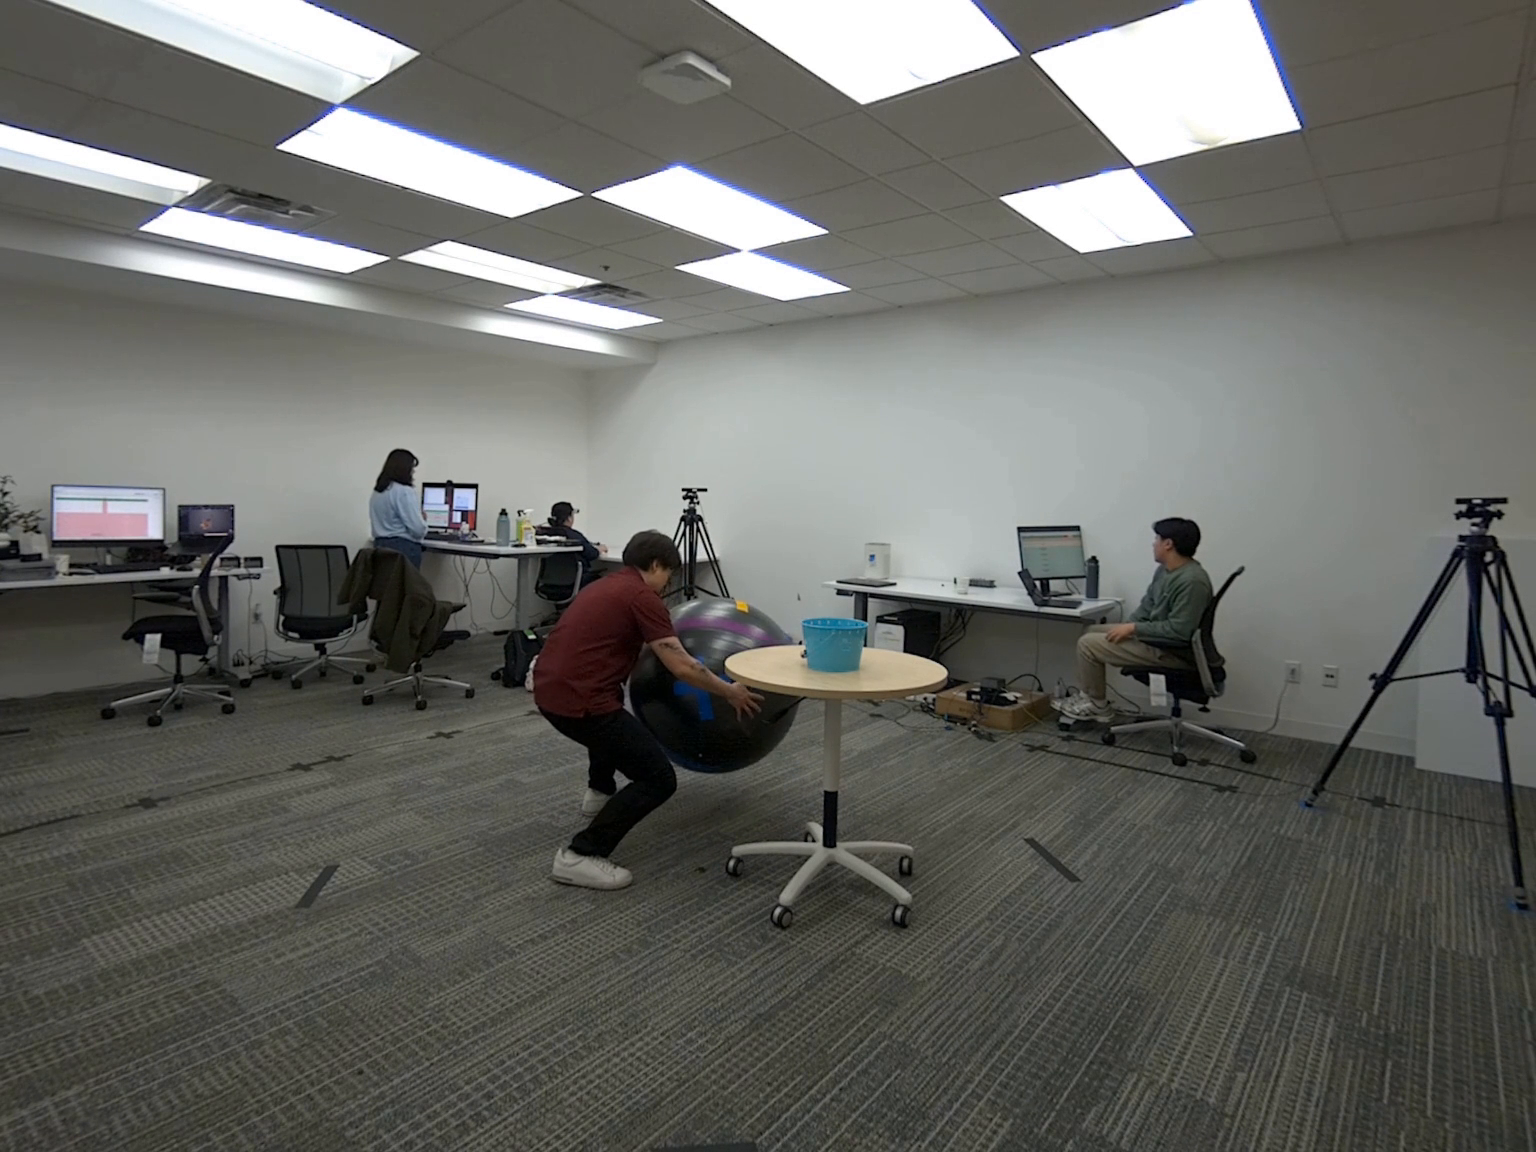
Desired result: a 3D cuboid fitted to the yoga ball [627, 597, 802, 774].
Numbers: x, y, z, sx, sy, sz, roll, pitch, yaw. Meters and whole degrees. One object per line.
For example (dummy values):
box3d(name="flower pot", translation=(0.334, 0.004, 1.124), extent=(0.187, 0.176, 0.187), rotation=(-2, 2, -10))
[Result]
box3d(name="yoga ball", translation=(-0.243, 0.481, 3.757), extent=(0.757, 0.756, 0.761), rotation=(1, 4, -2))
